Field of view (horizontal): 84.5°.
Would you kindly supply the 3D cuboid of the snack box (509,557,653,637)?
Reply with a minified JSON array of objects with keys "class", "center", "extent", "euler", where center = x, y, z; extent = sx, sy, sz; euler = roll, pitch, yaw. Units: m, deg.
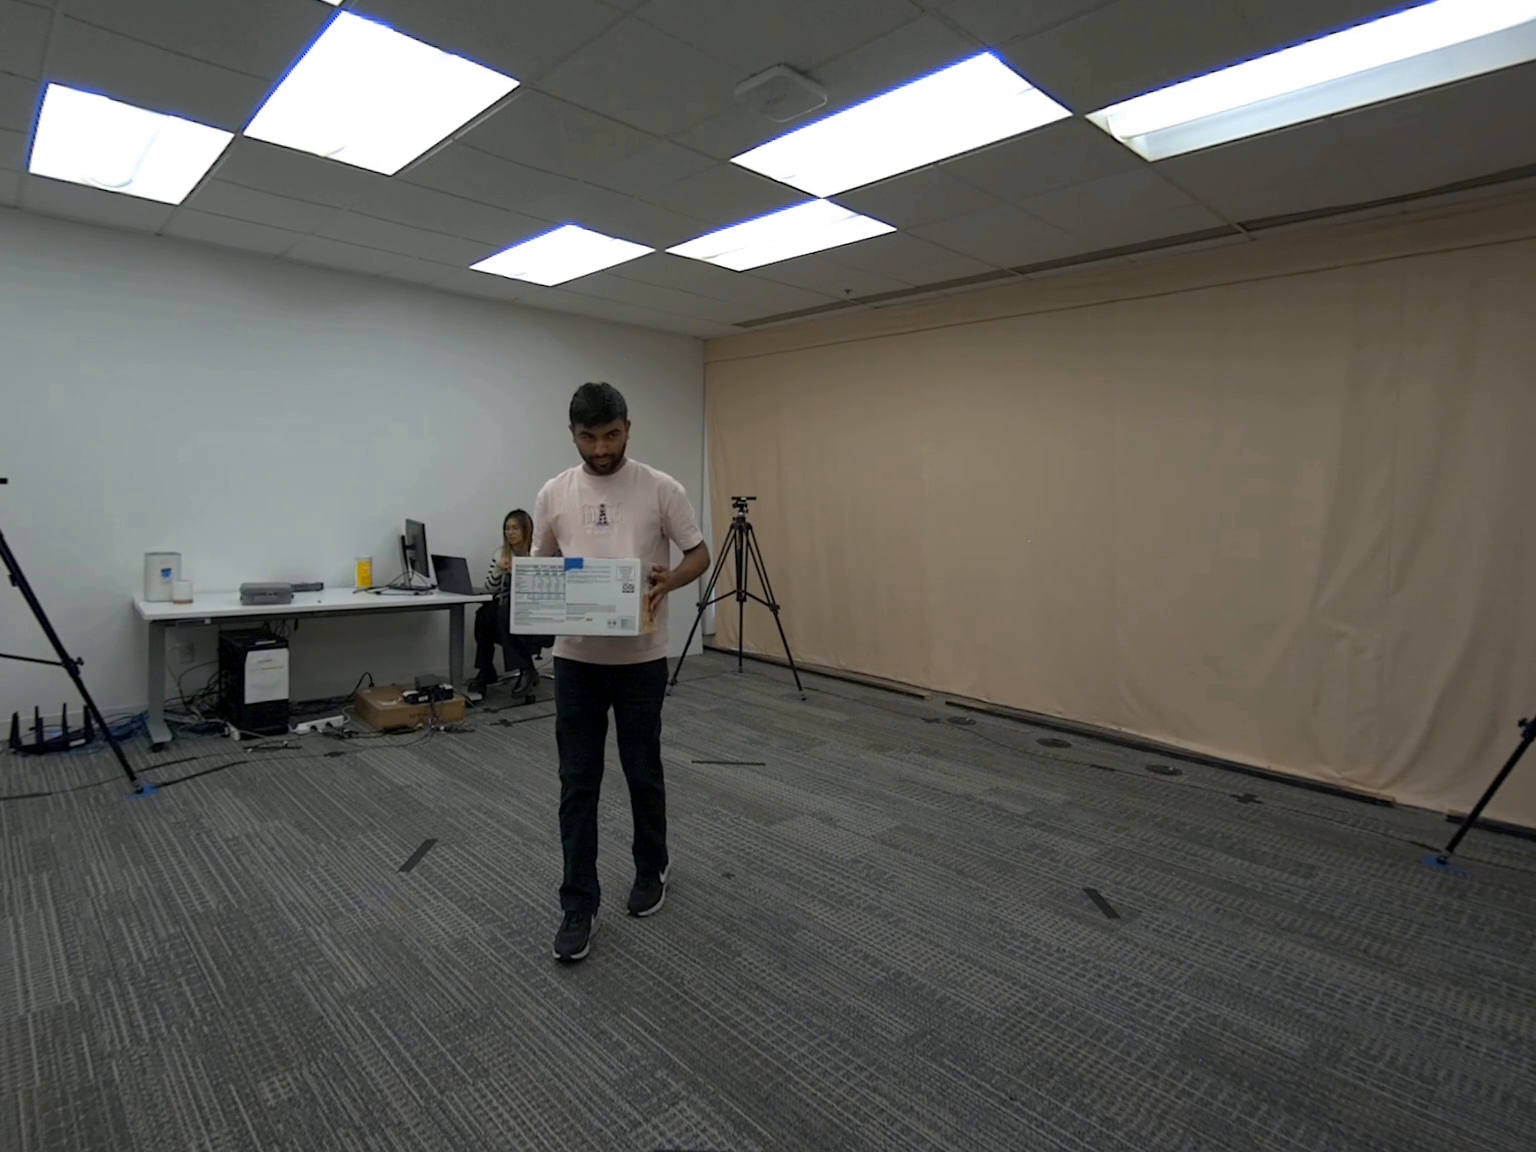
[{"class":"snack box","center":[-0.511,0.062,2.375],"extent":[0.341,0.206,0.403],"euler":[1,-2,2]}]
